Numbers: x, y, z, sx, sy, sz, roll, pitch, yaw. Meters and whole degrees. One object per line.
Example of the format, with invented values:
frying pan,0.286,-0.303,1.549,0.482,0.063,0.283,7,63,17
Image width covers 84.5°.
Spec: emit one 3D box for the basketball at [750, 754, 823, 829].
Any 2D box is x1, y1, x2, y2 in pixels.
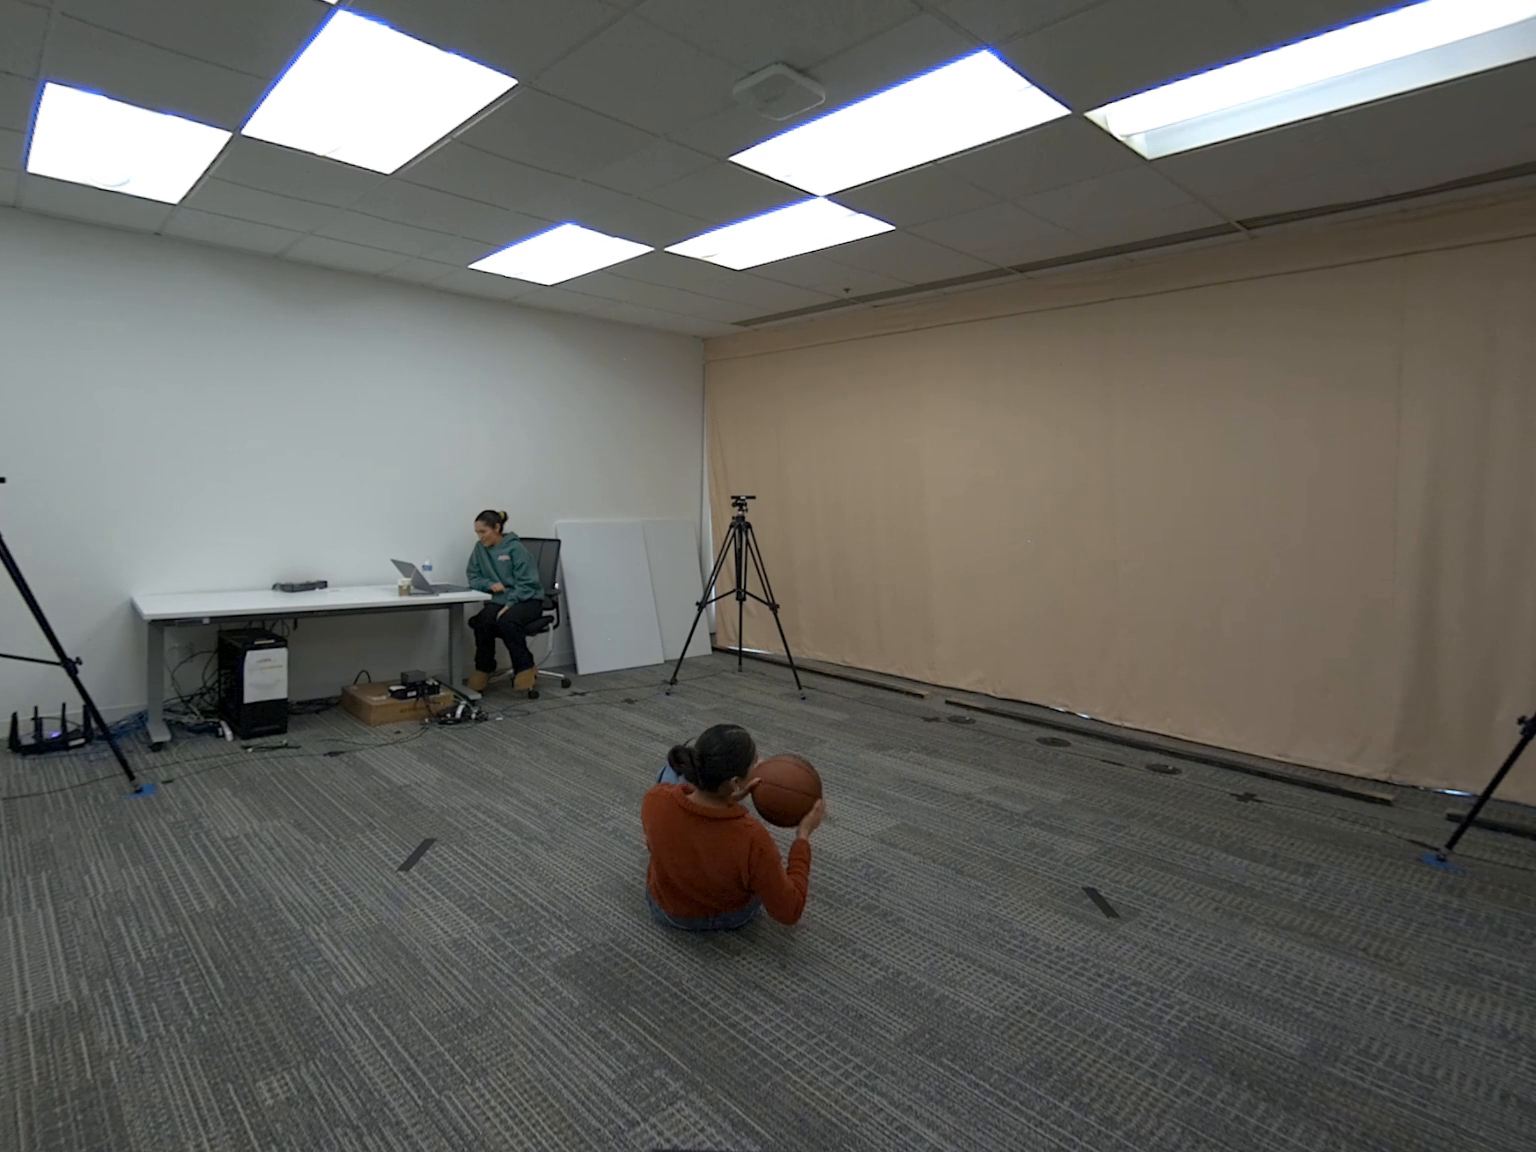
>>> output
basketball,0.047,0.711,2.778,0.236,0.235,0.237,1,4,-1
